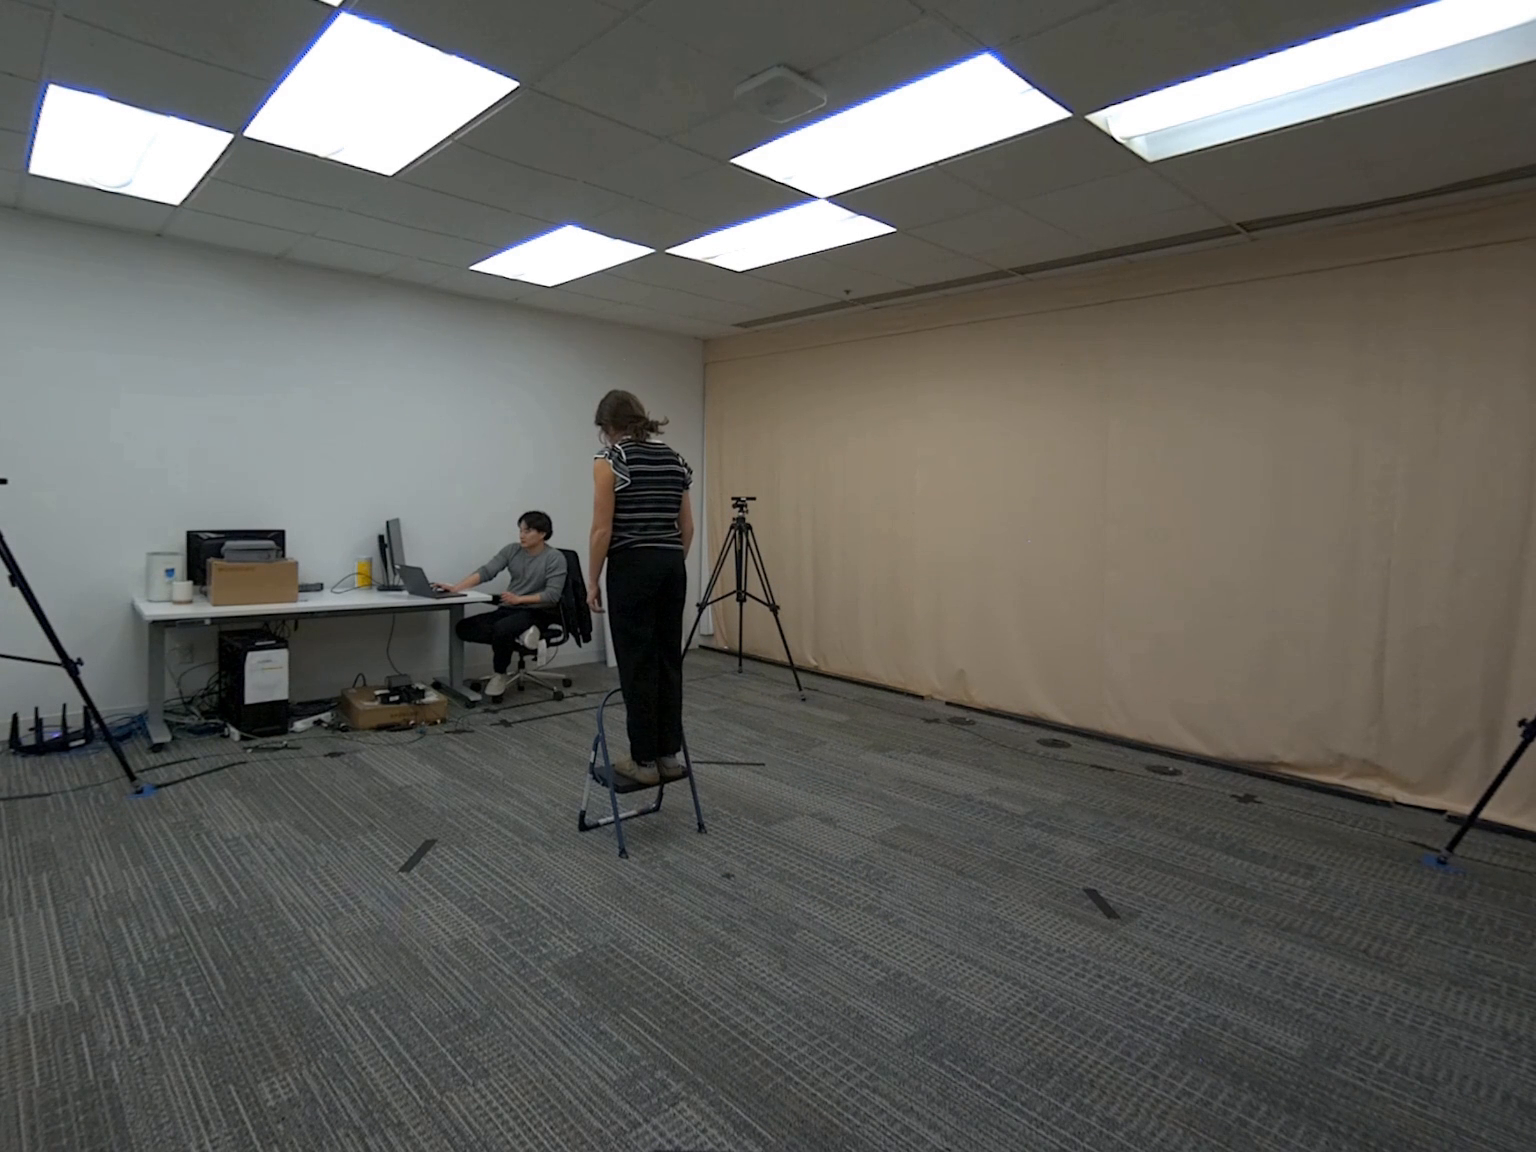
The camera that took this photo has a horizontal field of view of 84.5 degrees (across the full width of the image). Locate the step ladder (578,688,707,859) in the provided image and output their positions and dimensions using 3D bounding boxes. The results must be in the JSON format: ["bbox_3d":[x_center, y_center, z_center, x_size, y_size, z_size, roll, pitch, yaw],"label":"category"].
[{"bbox_3d":[-0.524,0.761,3.486,0.421,0.605,0.358,-2,4,-44],"label":"step ladder"}]
